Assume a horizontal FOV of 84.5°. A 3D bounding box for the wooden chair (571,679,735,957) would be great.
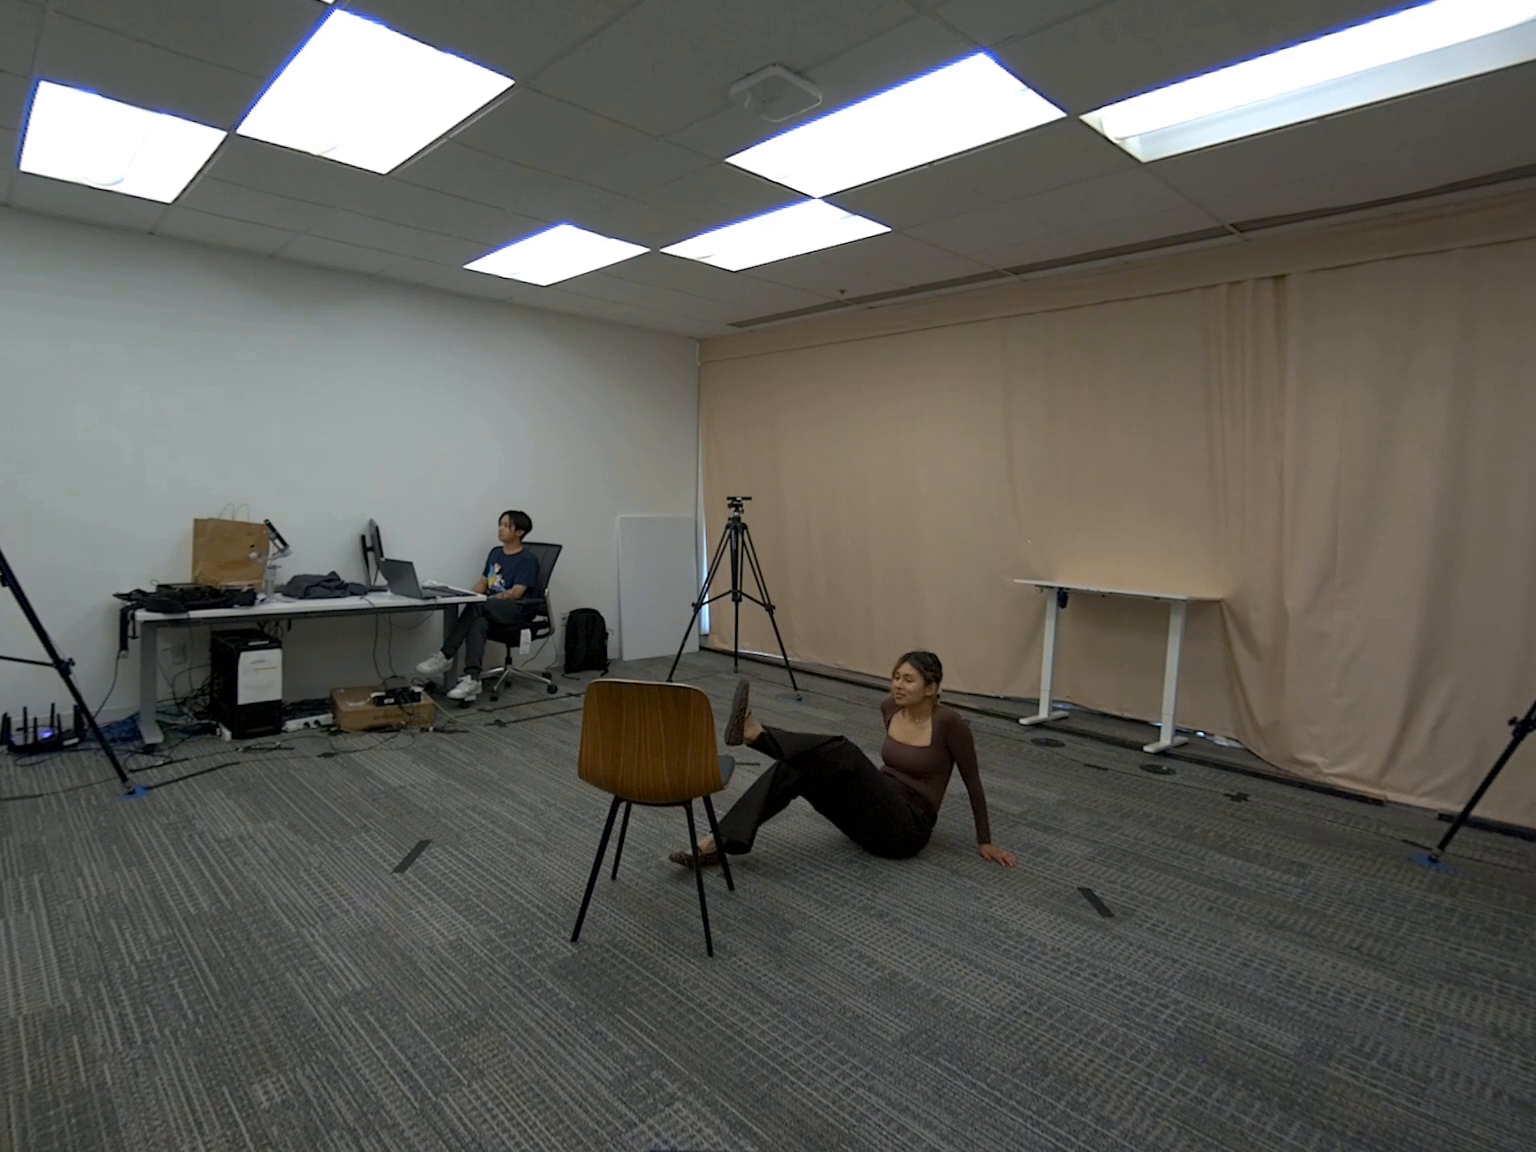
[{"bbox_3d":[-0.361,0.703,2.778,0.481,0.873,0.522,1,7,7],"label":"wooden chair"}]
